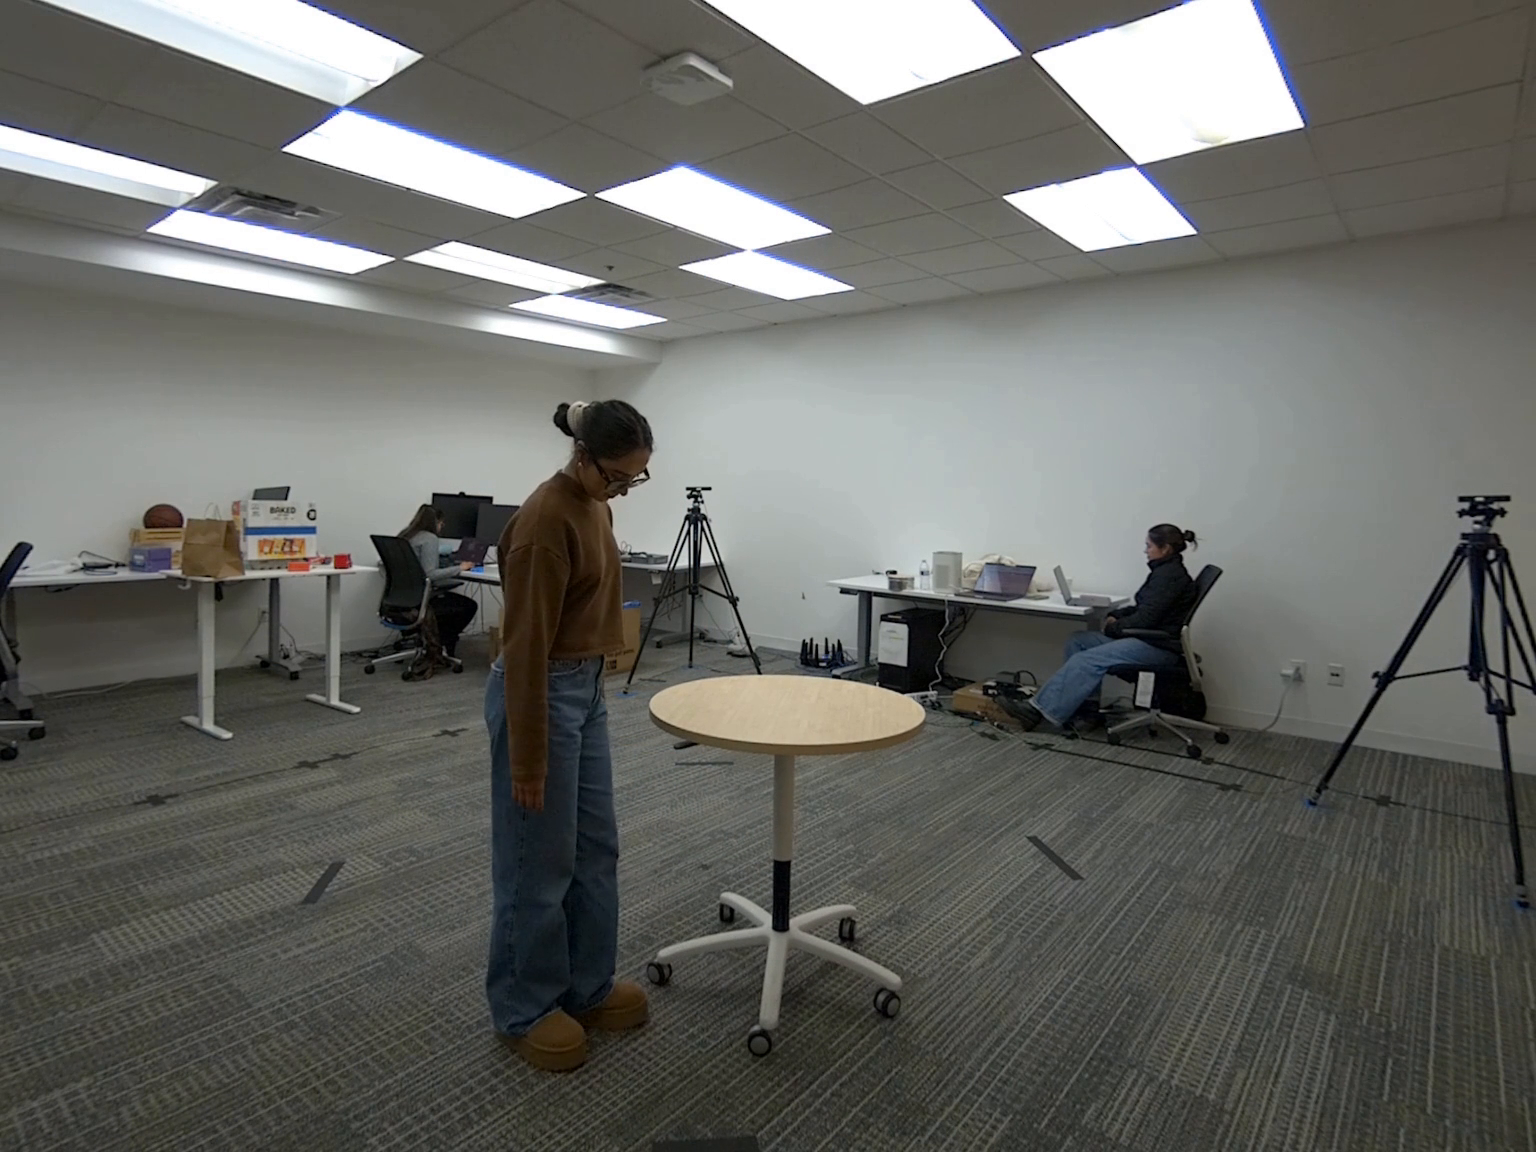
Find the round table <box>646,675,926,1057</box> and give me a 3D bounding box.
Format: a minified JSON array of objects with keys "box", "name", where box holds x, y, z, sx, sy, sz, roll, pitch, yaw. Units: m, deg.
[{"box":[0.029,0.750,2.415,0.763,0.791,0.768,1,4,-2],"name":"round table"}]
